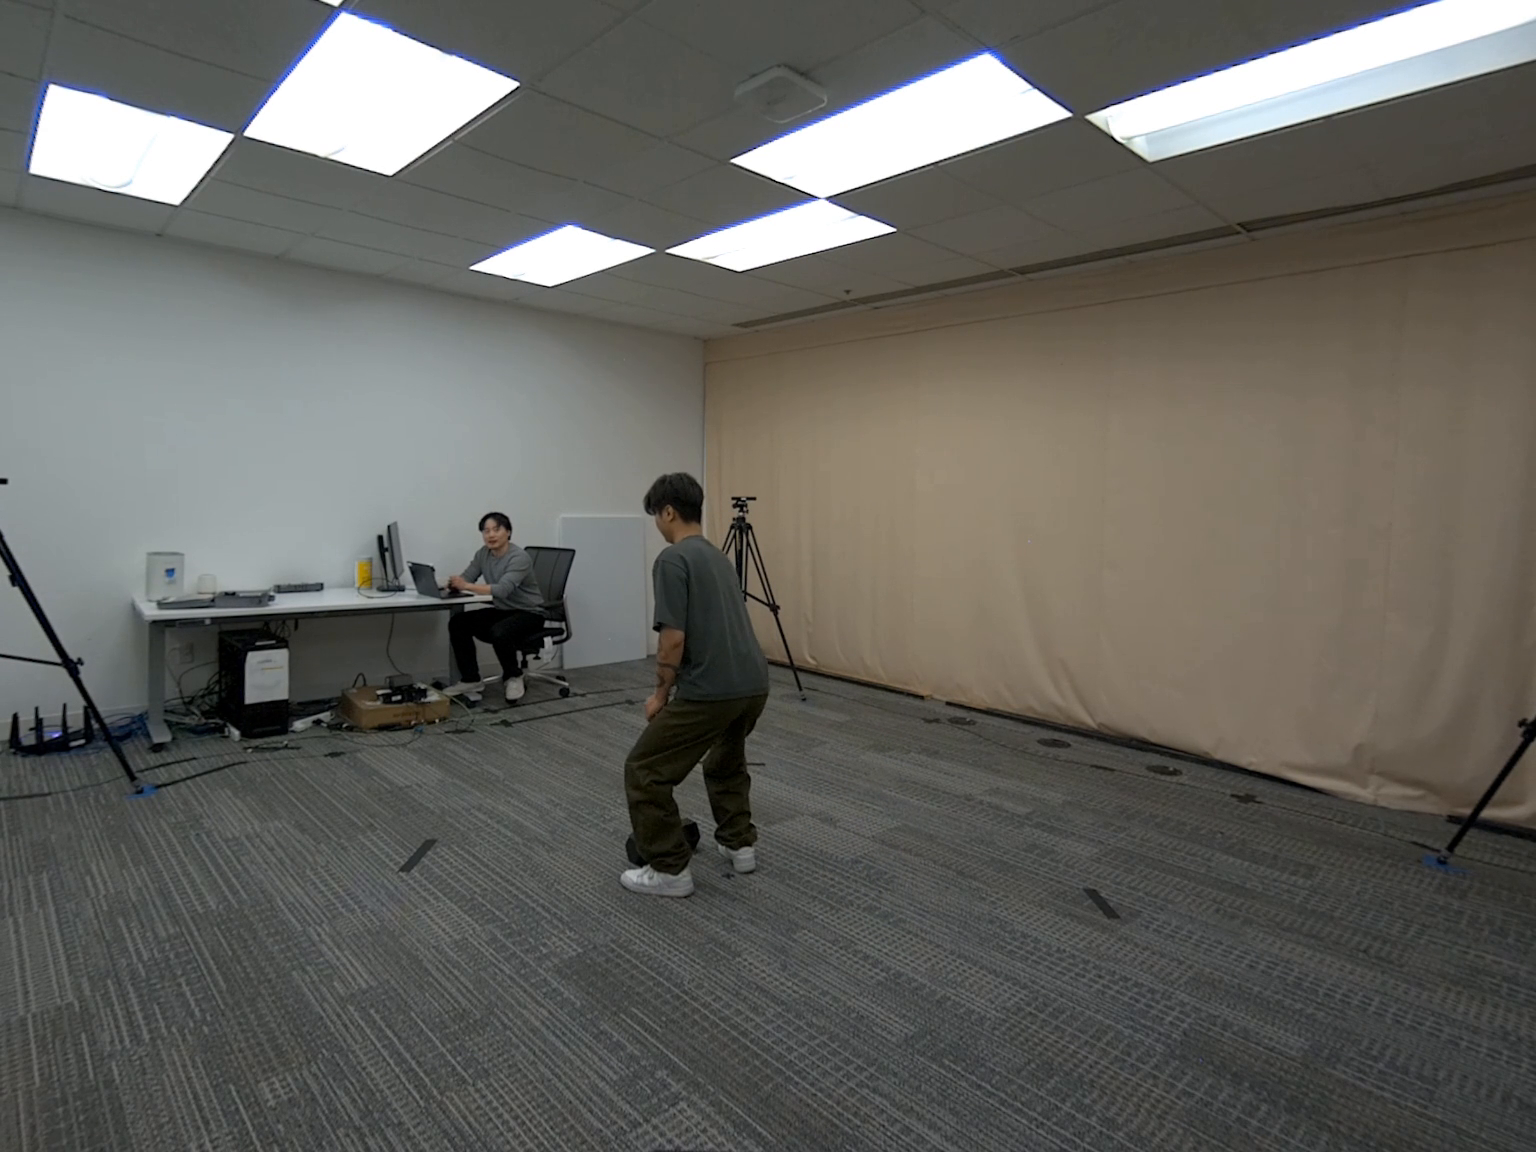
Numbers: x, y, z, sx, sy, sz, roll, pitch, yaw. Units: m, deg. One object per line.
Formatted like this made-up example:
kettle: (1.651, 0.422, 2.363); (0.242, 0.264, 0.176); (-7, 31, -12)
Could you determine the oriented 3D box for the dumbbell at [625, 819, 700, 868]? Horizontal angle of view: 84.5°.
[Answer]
dumbbell: (-0.405, 1.028, 3.274); (0.287, 0.125, 0.109); (-3, -26, -41)
